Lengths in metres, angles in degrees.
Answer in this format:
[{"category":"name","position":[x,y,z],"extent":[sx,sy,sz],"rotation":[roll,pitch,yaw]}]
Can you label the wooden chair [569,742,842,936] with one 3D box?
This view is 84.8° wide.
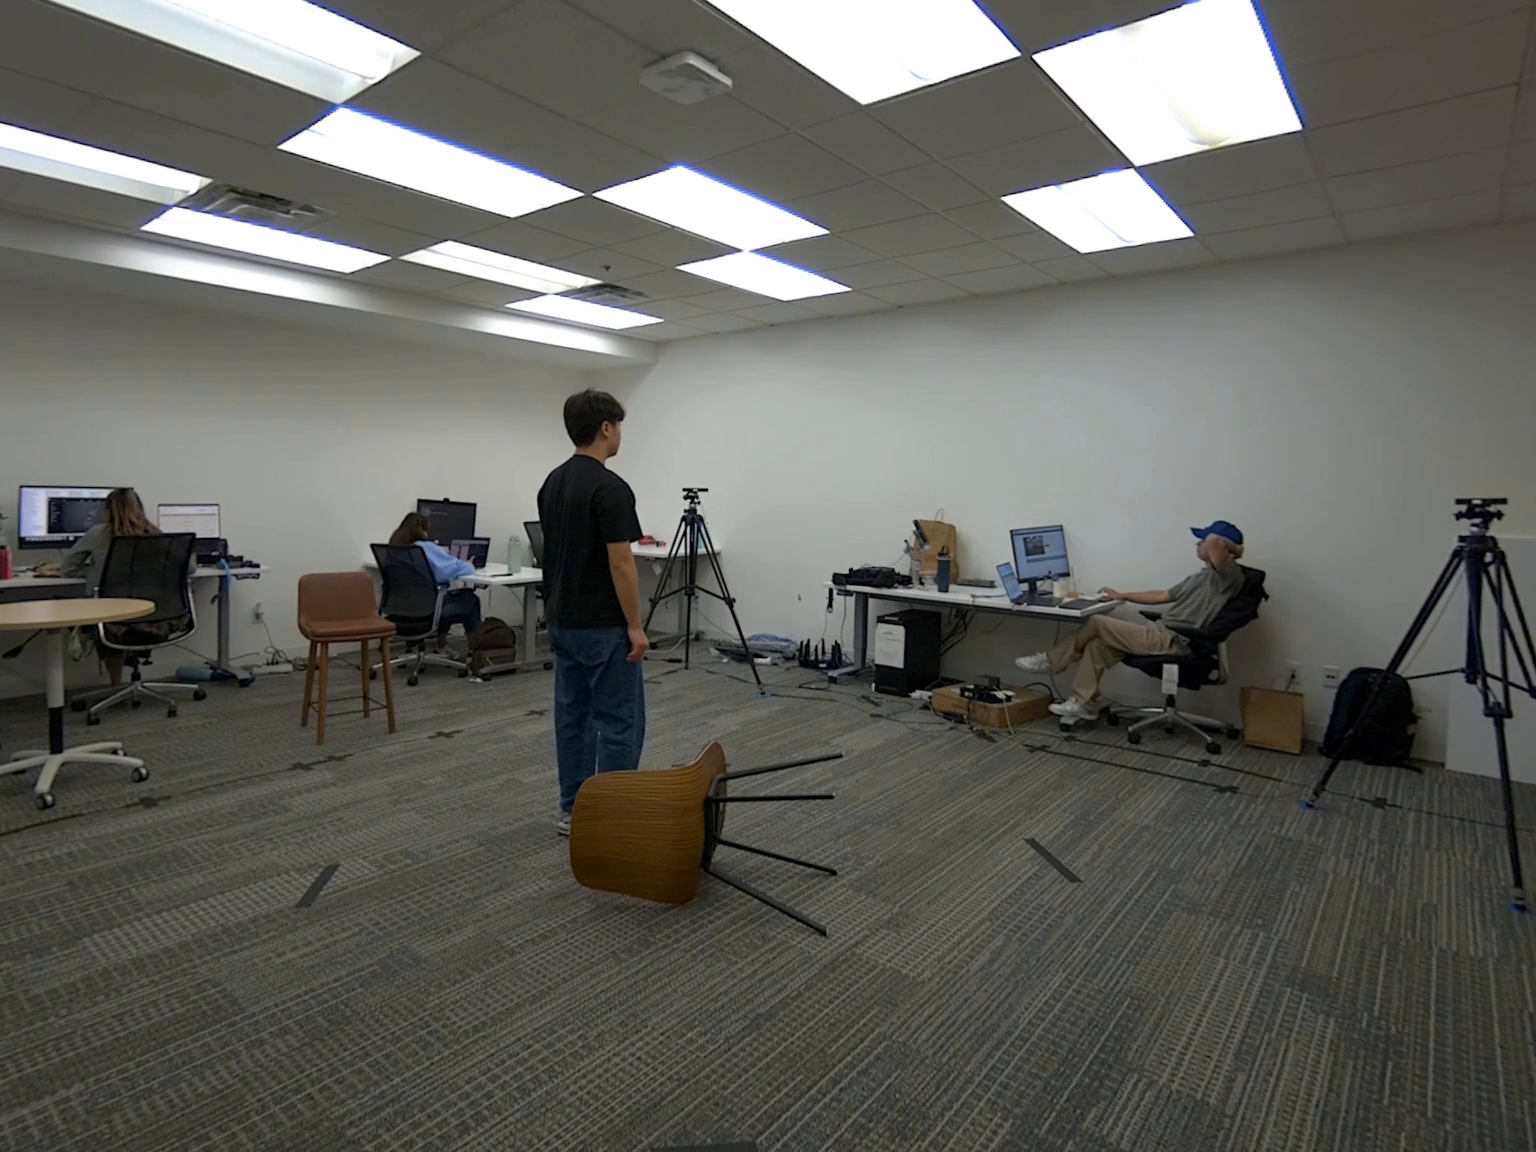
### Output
[{"category":"wooden chair","position":[-0.205,0.850,2.954],"extent":[0.885,0.476,0.521],"rotation":[2,5,7]}]
